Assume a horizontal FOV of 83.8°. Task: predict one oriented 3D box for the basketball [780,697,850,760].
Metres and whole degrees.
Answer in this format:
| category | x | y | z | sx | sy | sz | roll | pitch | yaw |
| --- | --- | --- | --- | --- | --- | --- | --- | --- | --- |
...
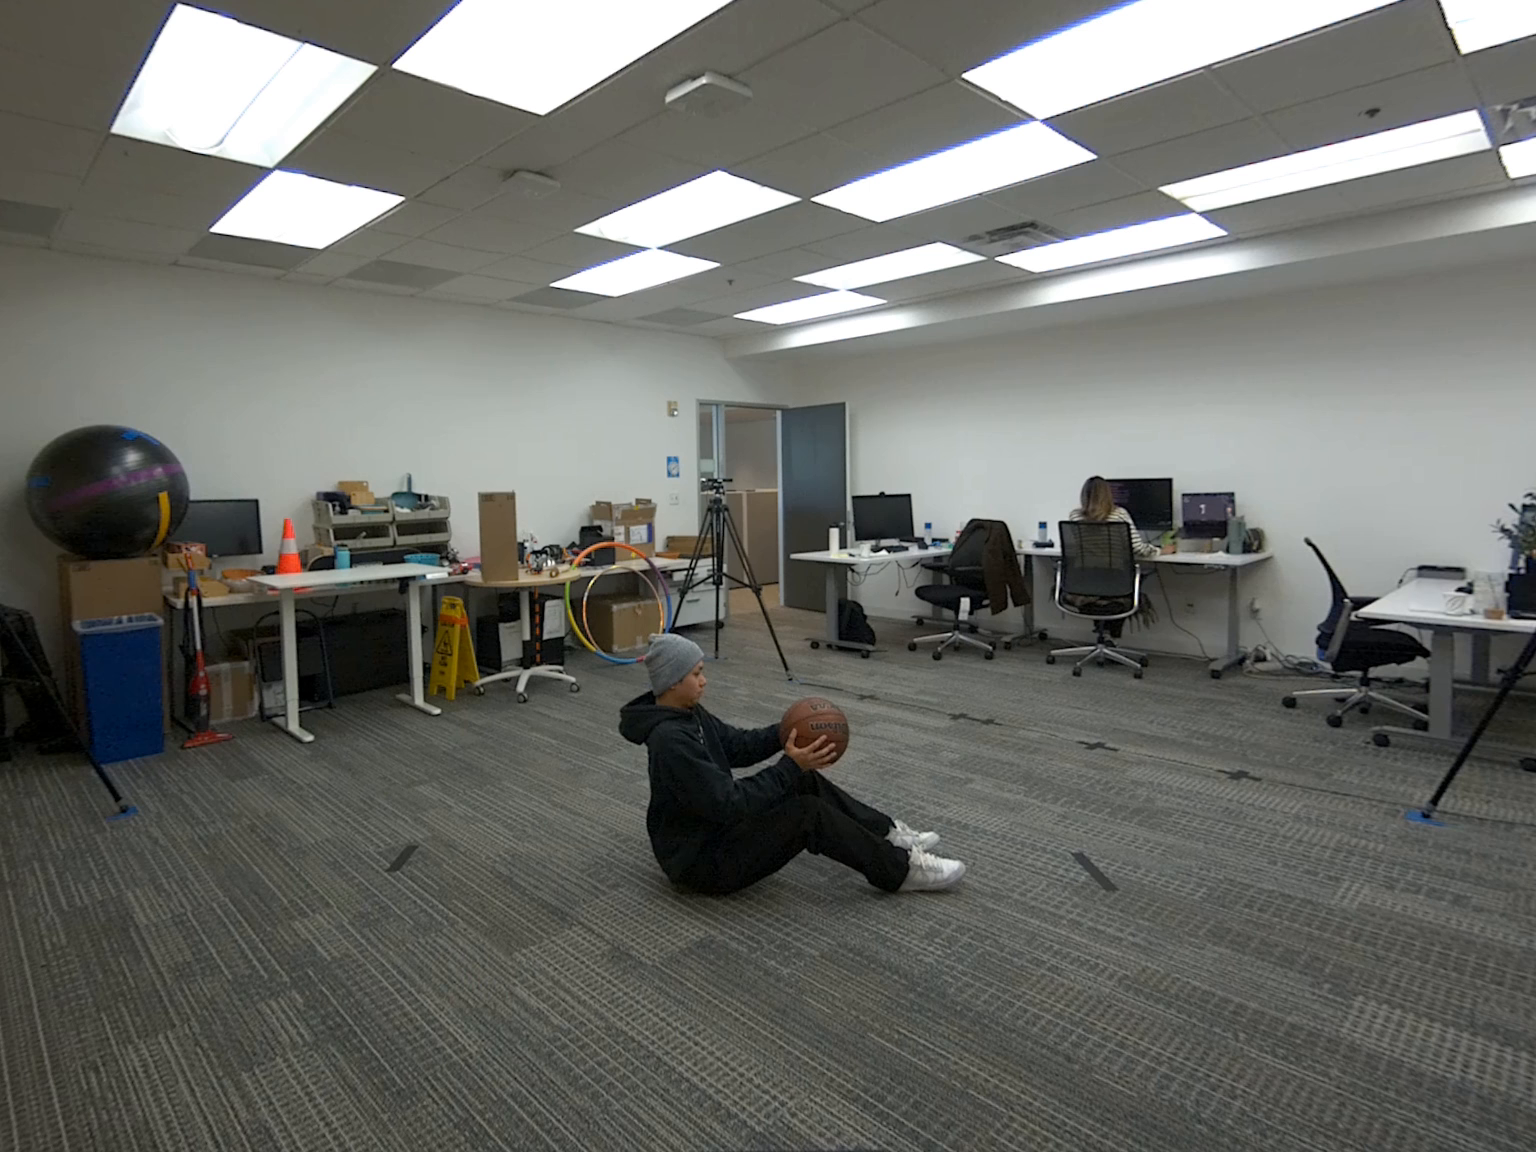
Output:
| category | x | y | z | sx | sy | sz | roll | pitch | yaw |
| --- | --- | --- | --- | --- | --- | --- | --- | --- | --- |
| basketball | 0.152 | 0.536 | 2.900 | 0.236 | 0.235 | 0.237 | -1 | 5 | -2 |
